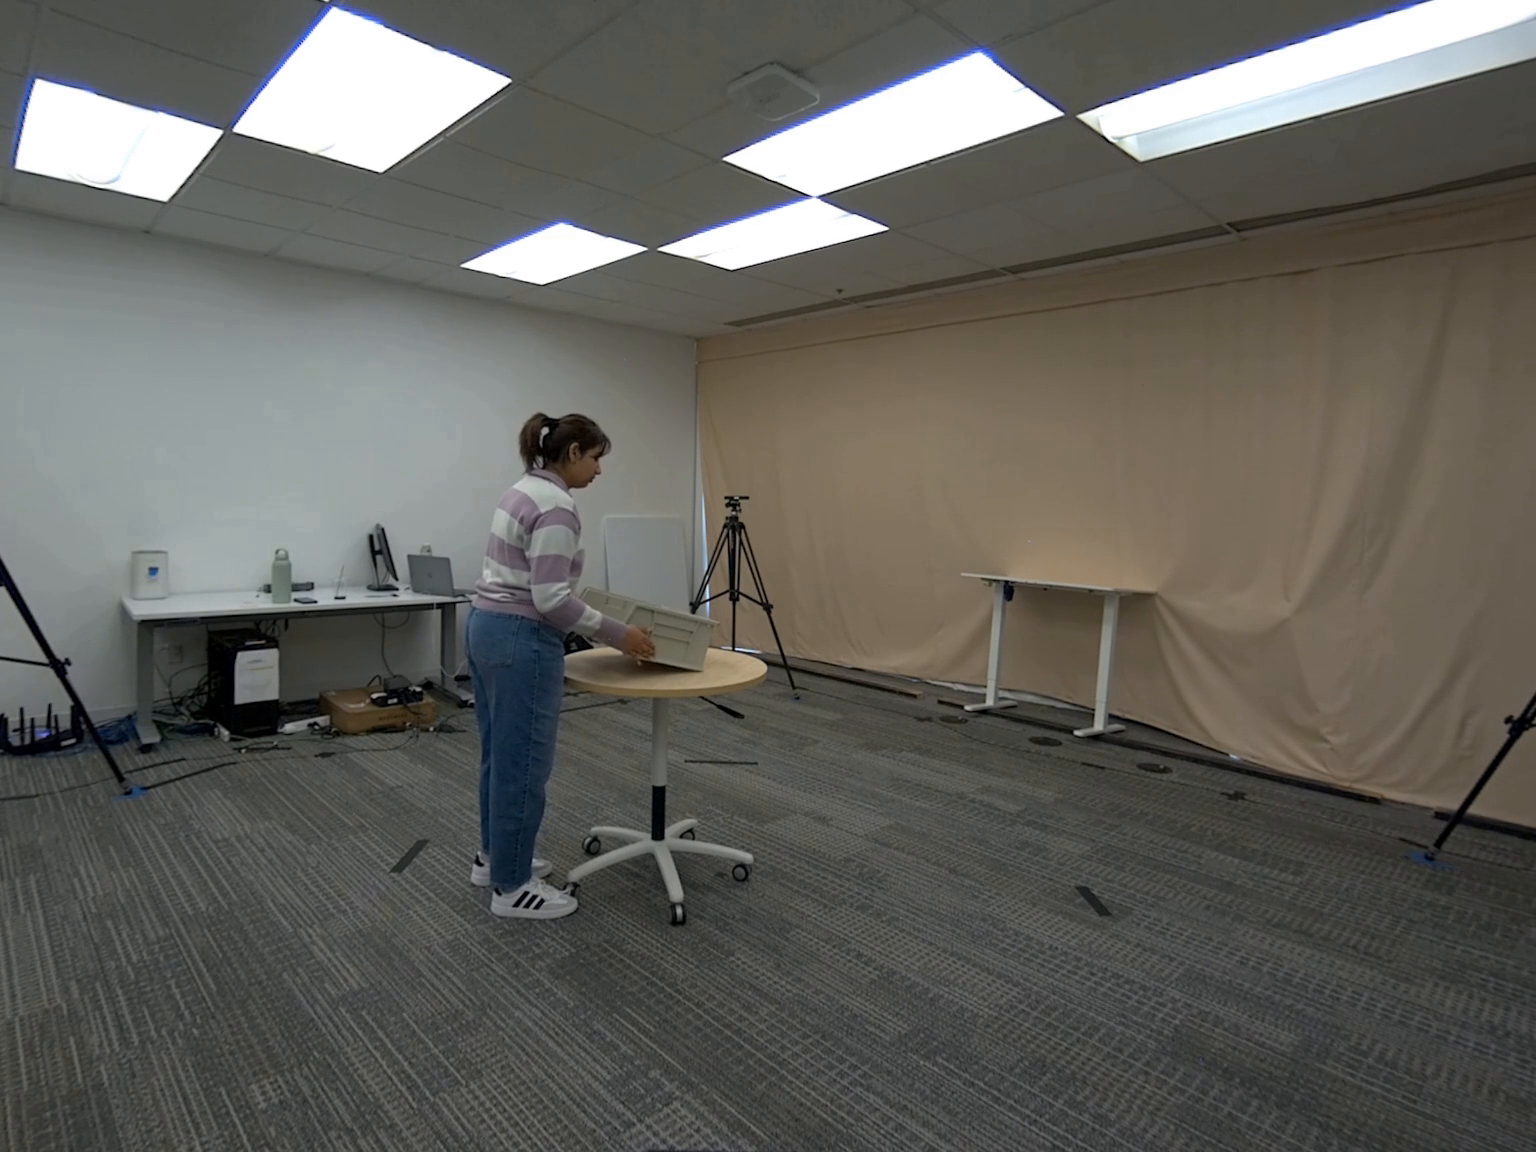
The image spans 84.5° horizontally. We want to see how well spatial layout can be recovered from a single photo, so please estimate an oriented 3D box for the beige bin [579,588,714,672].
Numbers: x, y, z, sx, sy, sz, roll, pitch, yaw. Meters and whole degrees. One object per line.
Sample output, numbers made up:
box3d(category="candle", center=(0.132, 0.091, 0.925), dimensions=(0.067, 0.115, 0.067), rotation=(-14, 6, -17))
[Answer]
box3d(category="beige bin", center=(-0.456, 0.189, 3.027), dimensions=(0.367, 0.189, 0.433), rotation=(18, -5, -35))
